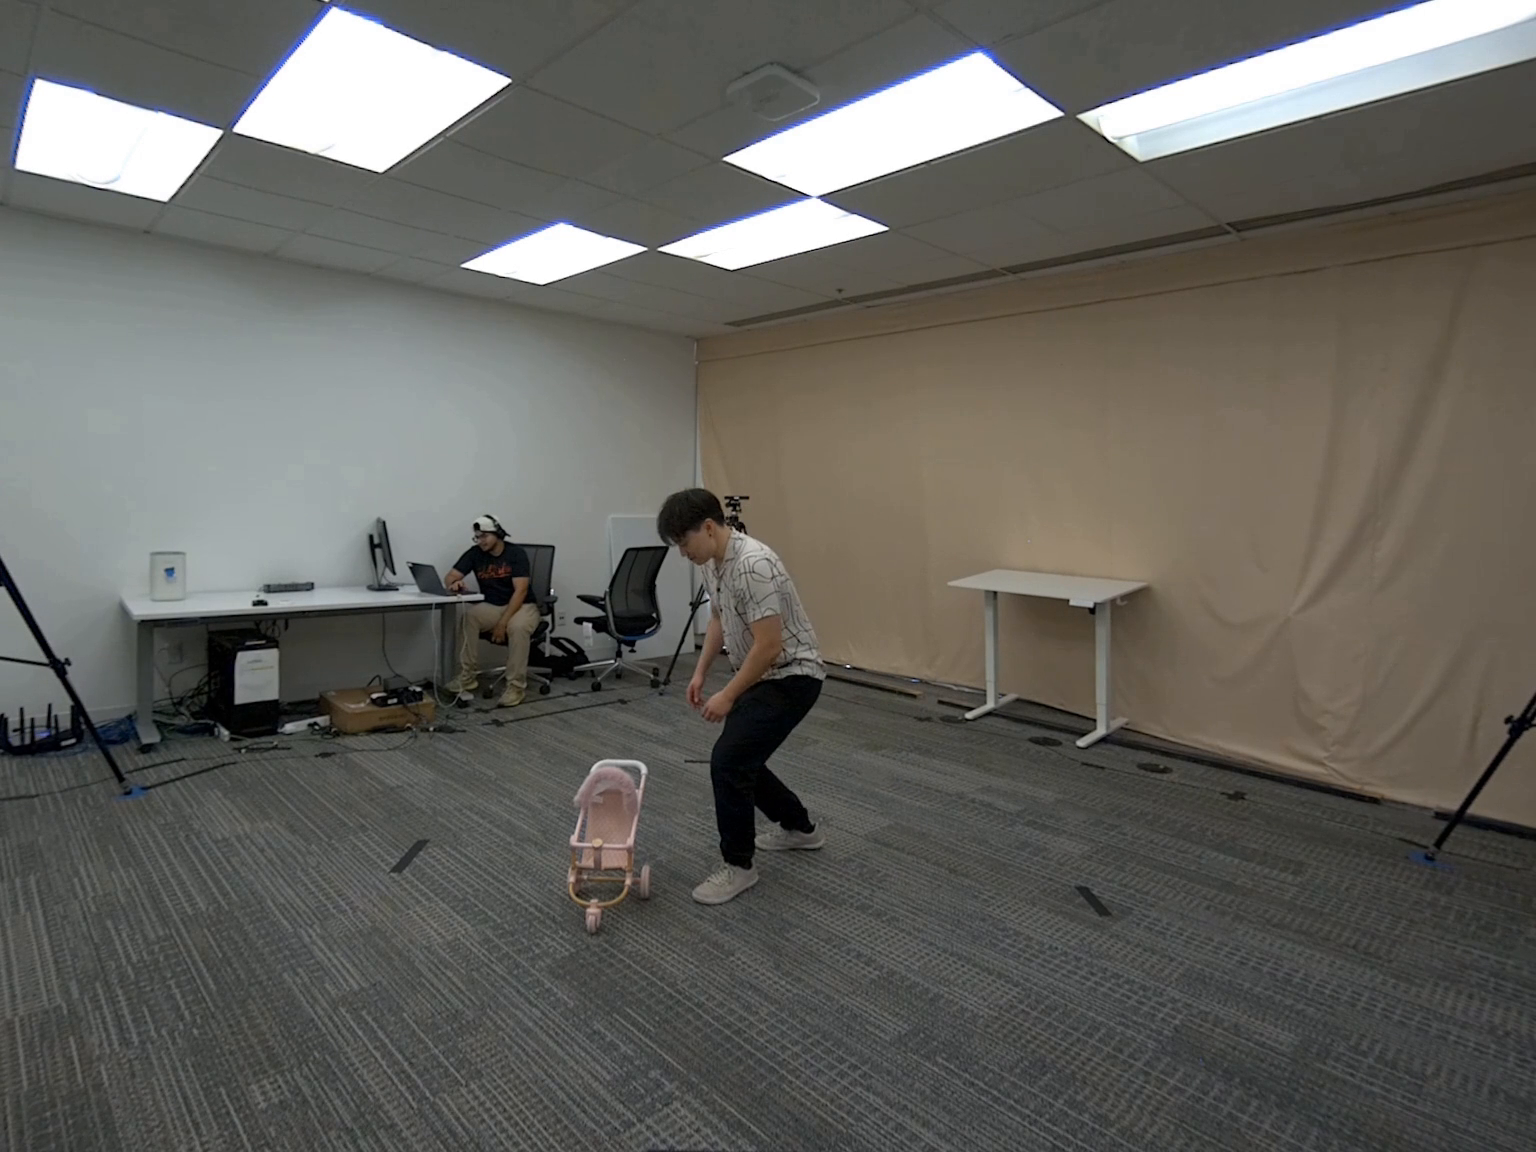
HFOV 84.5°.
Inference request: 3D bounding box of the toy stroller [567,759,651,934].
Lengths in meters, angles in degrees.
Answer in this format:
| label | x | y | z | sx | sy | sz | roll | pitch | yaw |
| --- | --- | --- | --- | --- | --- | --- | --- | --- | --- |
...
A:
| label | x | y | z | sx | sy | sz | roll | pitch | yaw |
| --- | --- | --- | --- | --- | --- | --- | --- | --- | --- |
| toy stroller | -0.550 | 0.895 | 2.852 | 0.283 | 0.540 | 0.336 | 1 | -14 | 6 |
